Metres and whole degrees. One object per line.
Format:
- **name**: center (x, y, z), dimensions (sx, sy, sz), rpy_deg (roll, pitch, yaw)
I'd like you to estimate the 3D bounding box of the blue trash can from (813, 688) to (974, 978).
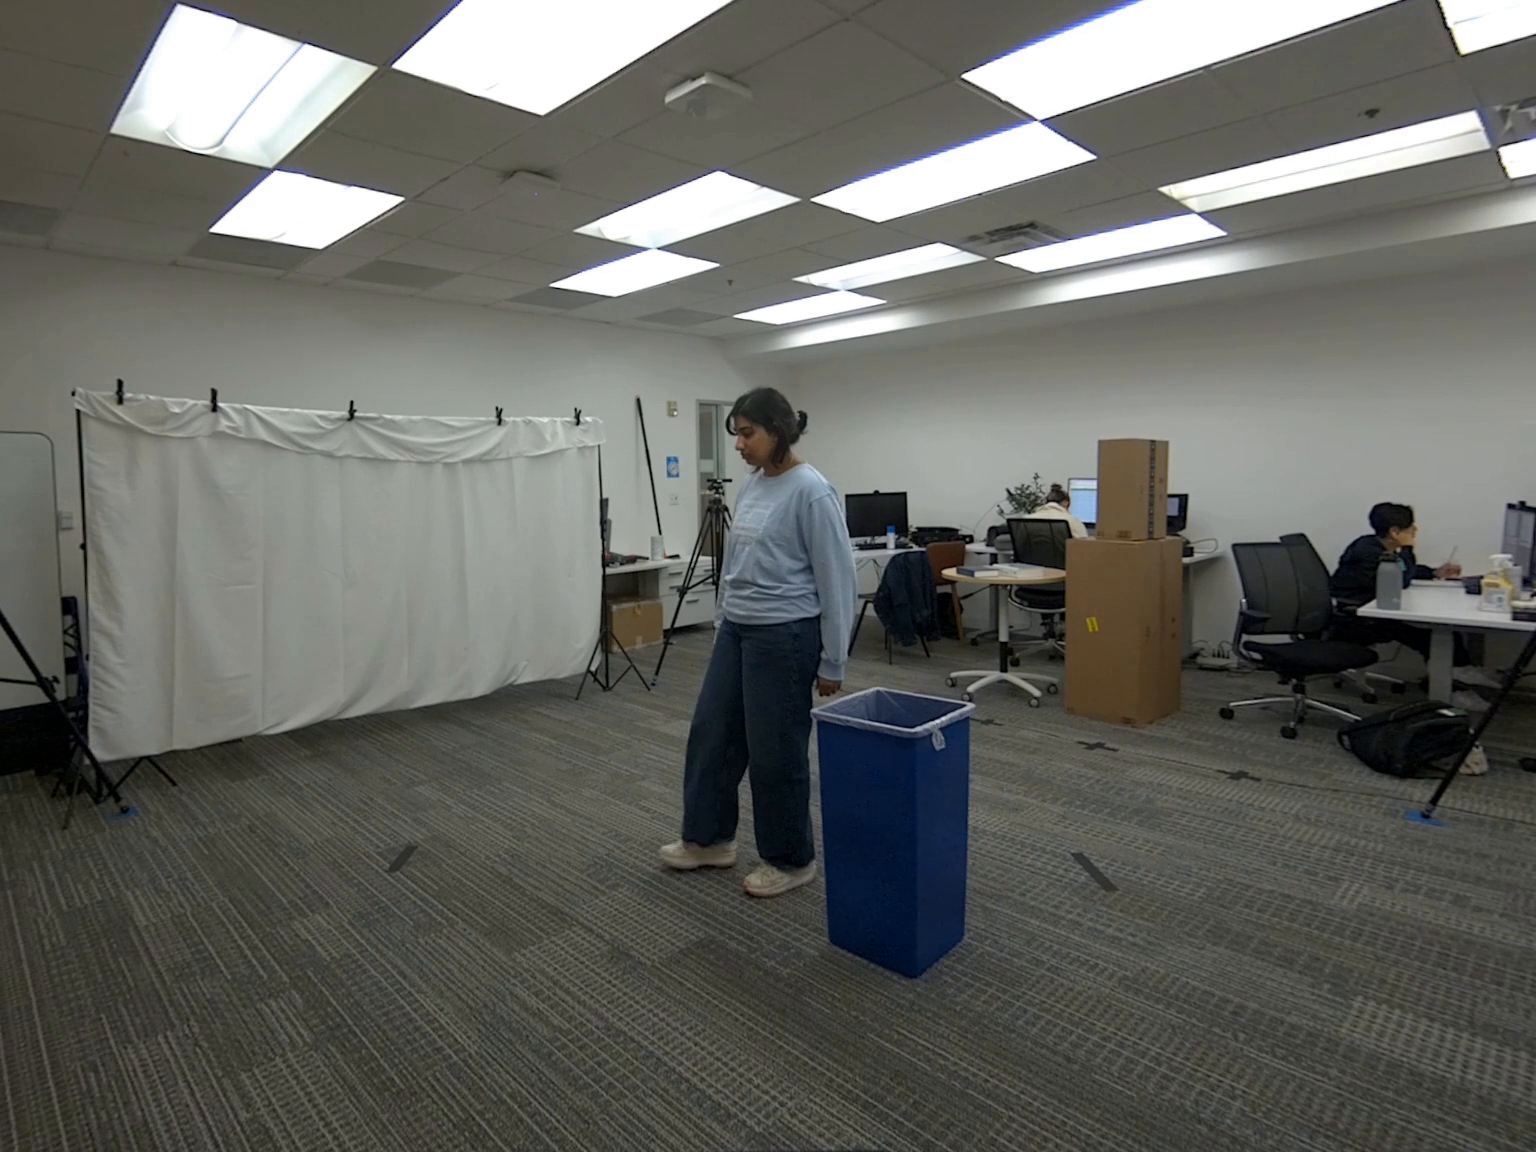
- **blue trash can**: center (0.388, 0.744, 2.564), dimensions (0.389, 0.711, 0.364), rpy_deg (2, 5, 41)
